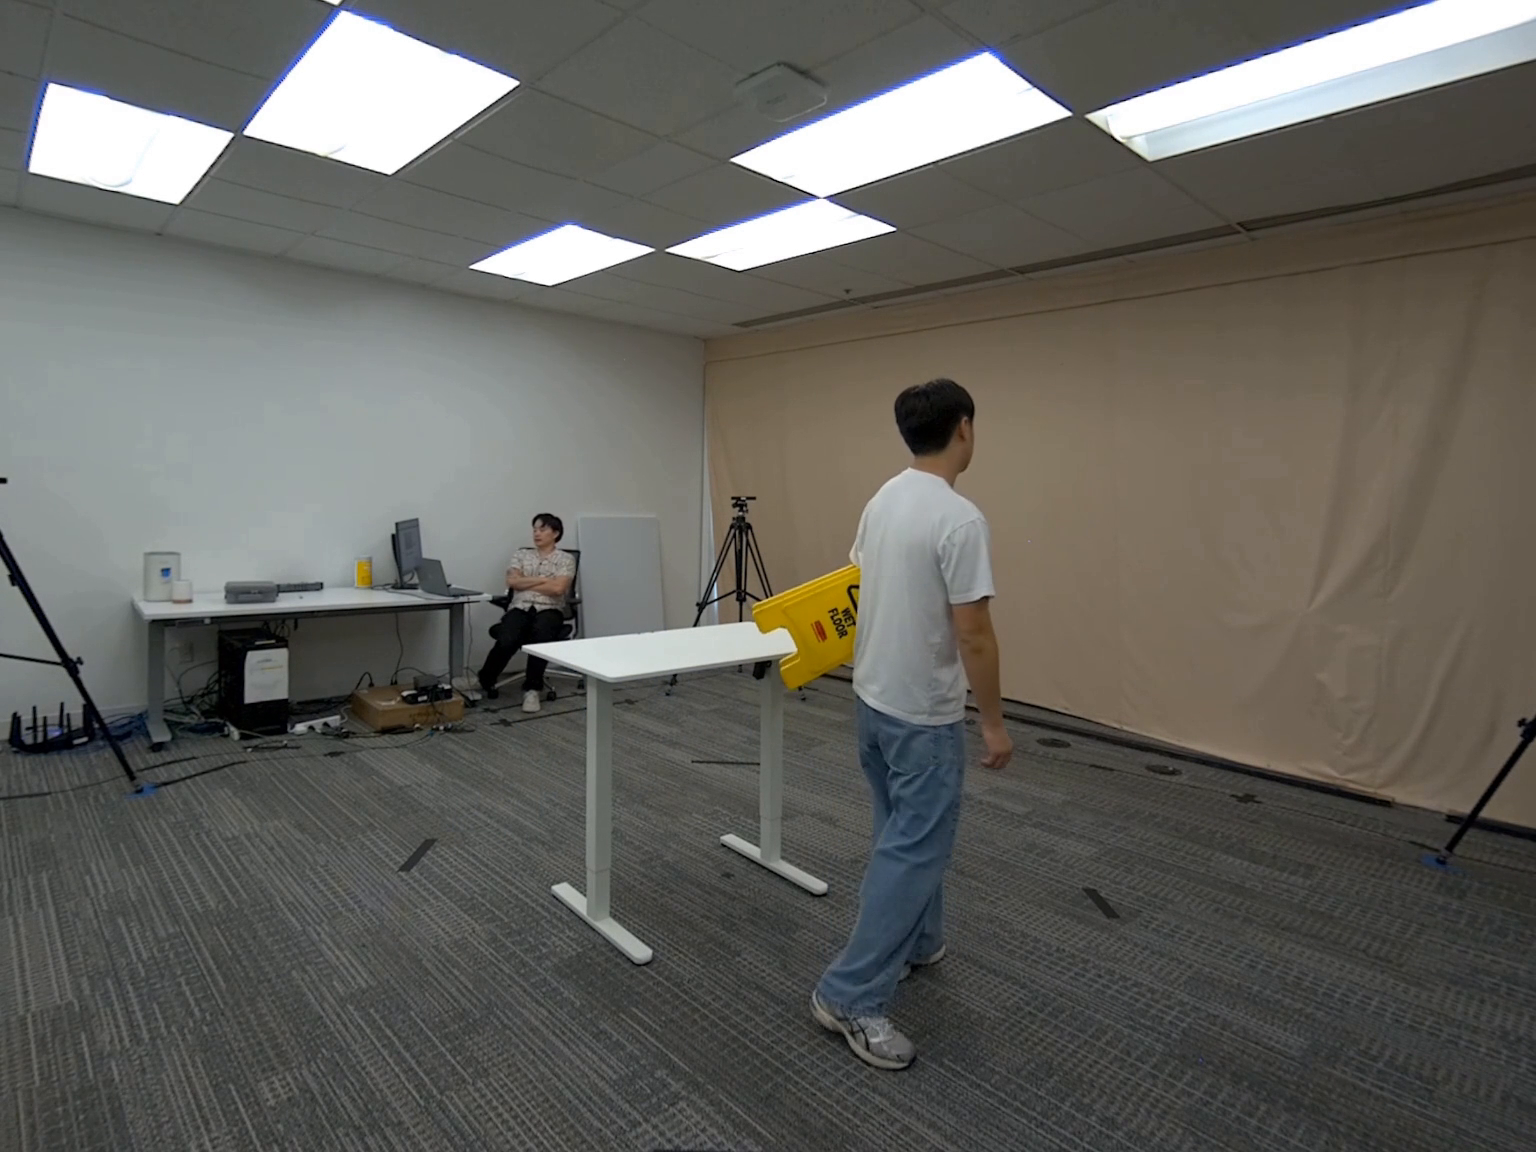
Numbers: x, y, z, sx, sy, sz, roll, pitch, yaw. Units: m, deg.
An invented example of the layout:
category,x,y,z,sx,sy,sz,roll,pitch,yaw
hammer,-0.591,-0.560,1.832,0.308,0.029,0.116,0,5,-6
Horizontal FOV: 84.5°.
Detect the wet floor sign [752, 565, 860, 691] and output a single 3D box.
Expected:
category,x,y,z,sx,sy,sz,roll,pitch,yaw
wet floor sign,0.303,0.081,2.541,0.646,0.279,0.293,-24,12,0
